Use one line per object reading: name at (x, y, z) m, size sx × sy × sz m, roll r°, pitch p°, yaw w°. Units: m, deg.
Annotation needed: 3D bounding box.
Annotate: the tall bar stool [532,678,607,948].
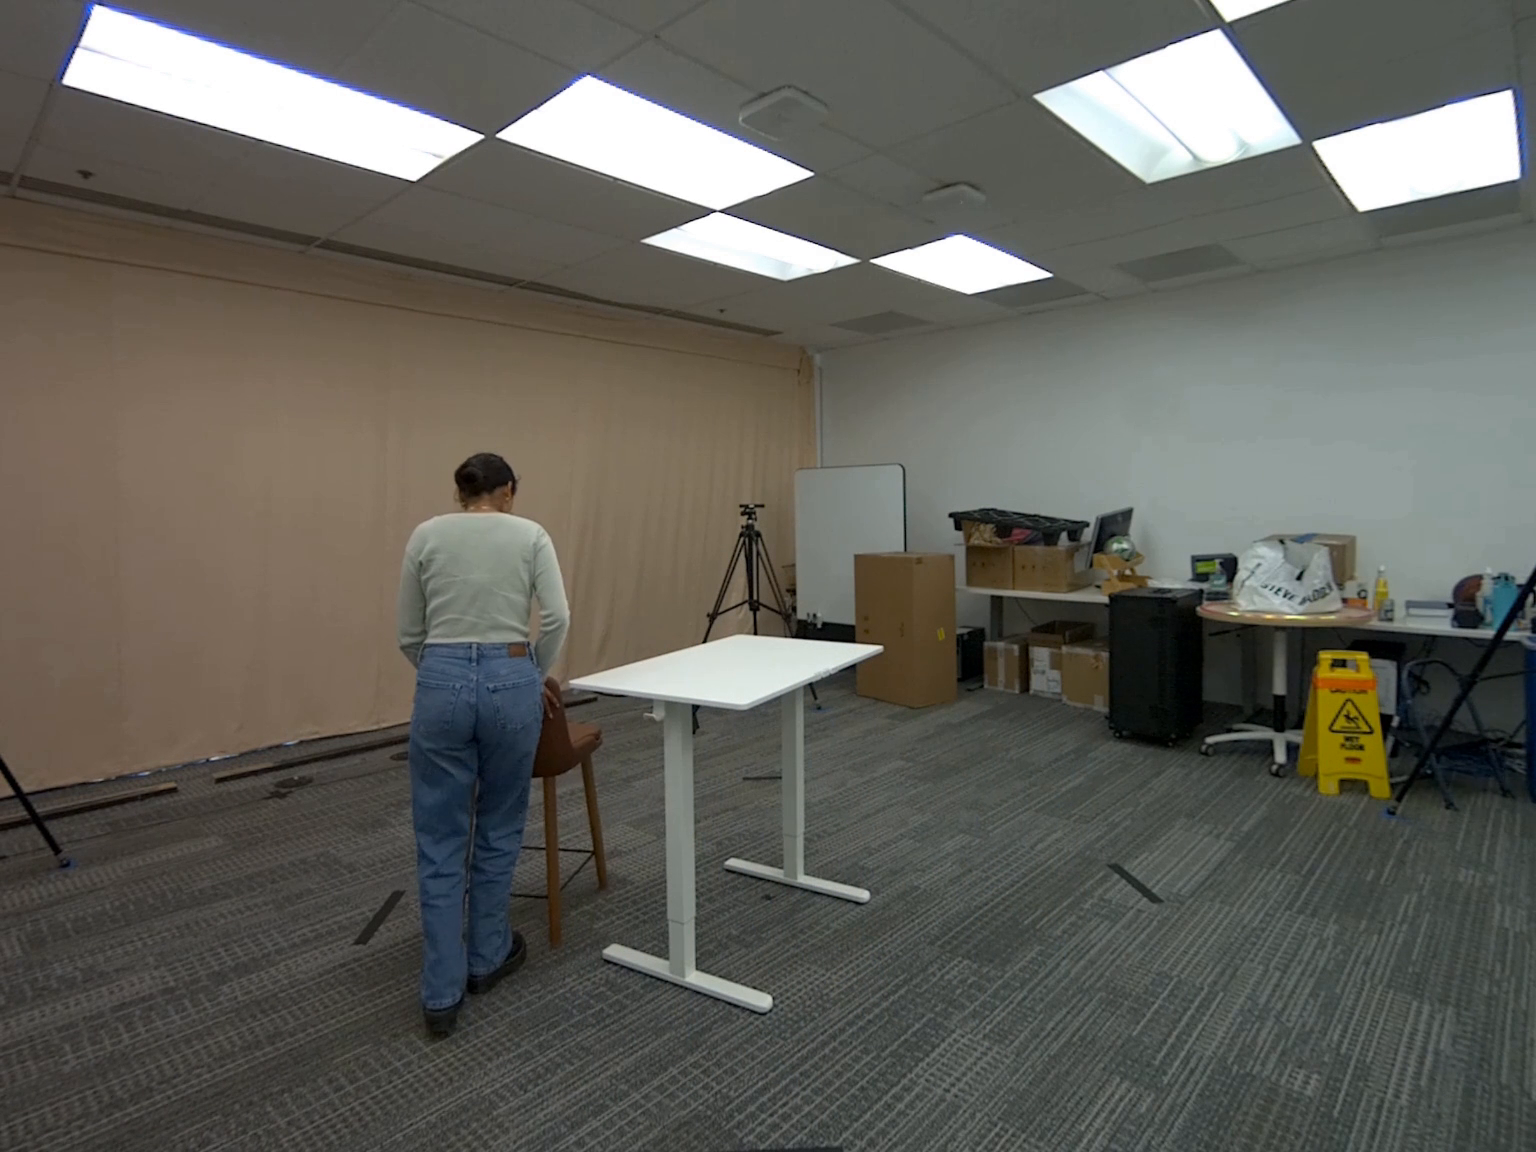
tall bar stool at (-0.839, 0.733, 2.890) m, size 0.462 × 0.886 × 0.463 m, roll -1°, pitch 5°, yaw 11°
